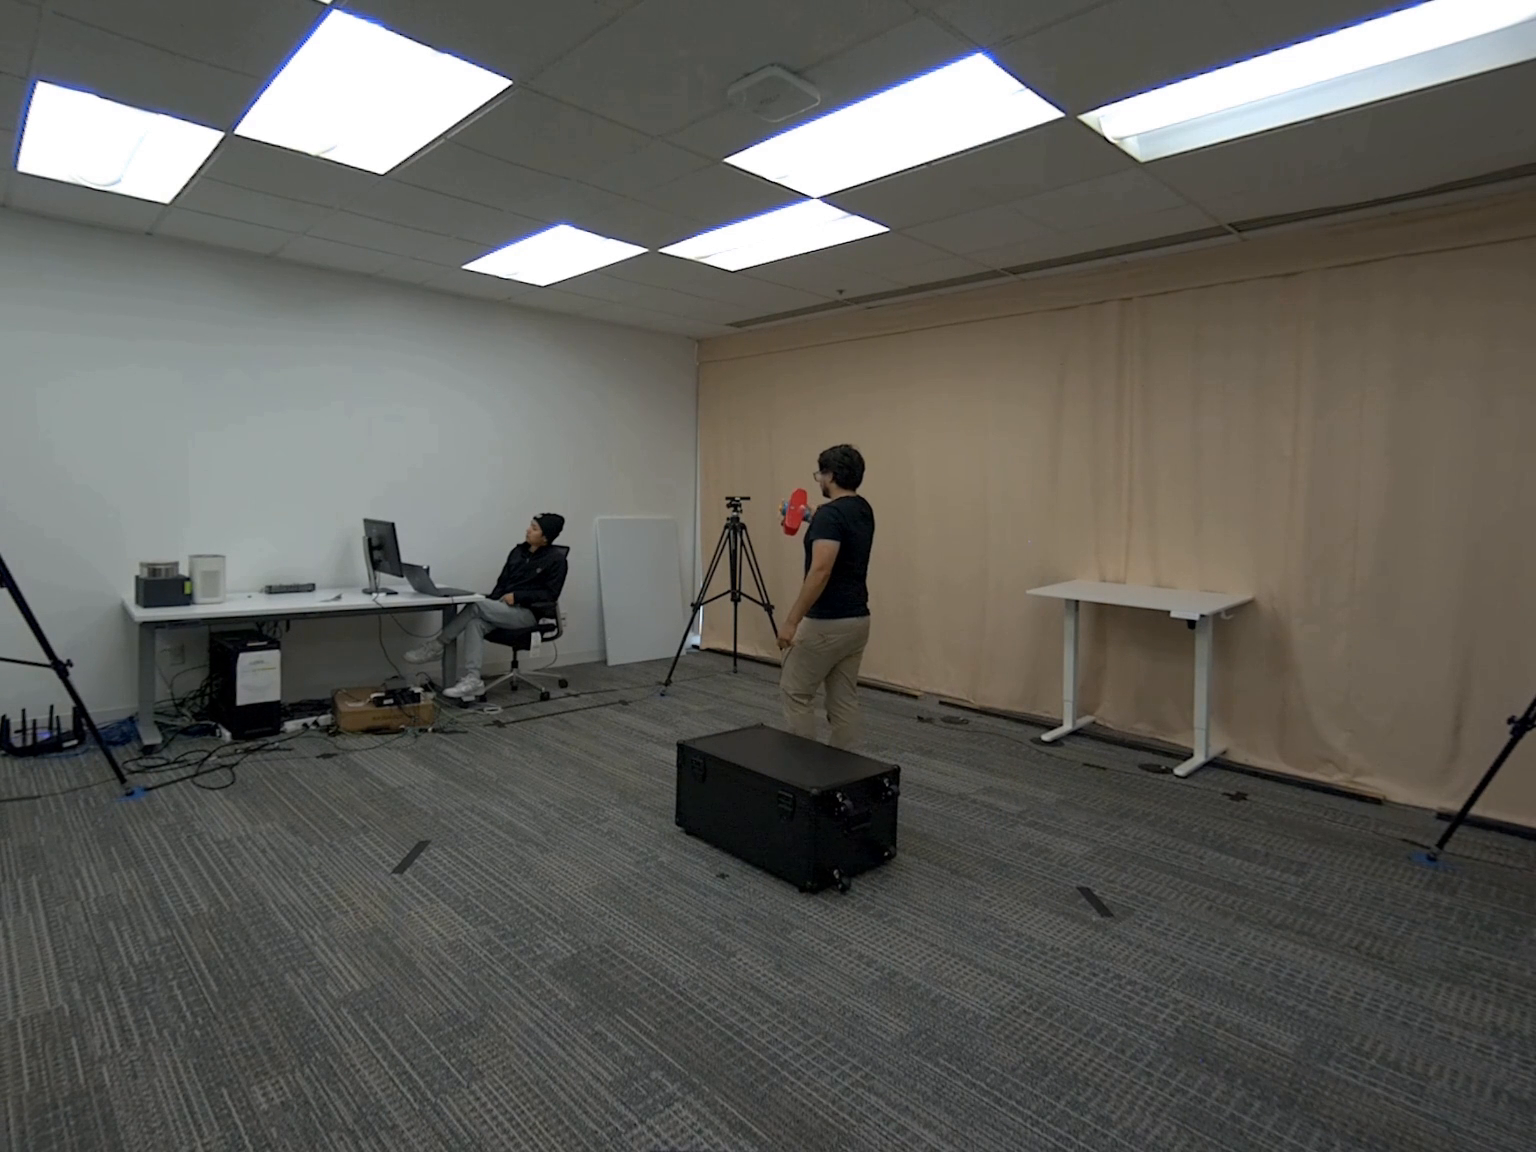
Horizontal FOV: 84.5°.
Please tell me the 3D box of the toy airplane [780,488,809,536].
[{"bbox_3d":[0.183,-0.357,4.659,0.259,0.257,0.153,-16,-26,0],"label":"toy airplane"}]
